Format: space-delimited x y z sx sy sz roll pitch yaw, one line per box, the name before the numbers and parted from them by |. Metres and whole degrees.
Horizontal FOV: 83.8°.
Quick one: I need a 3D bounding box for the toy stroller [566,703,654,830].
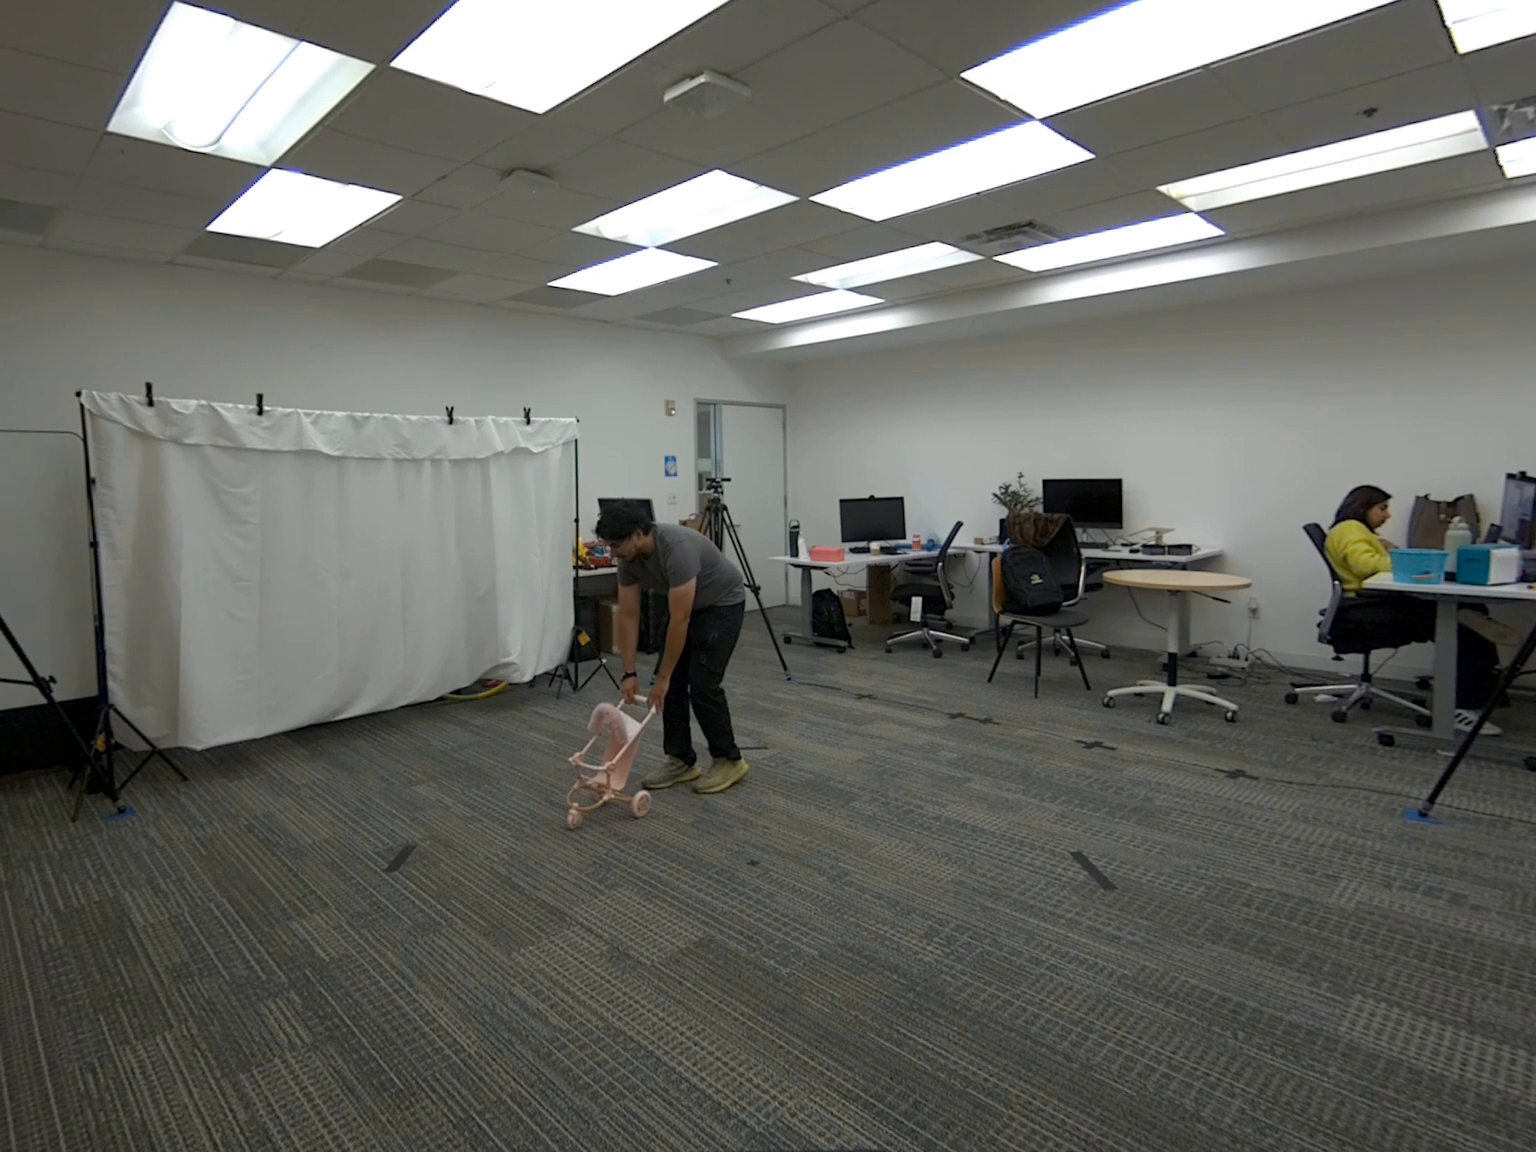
toy stroller | -0.676 0.772 3.563 0.290 0.537 0.330 4 -6 43
